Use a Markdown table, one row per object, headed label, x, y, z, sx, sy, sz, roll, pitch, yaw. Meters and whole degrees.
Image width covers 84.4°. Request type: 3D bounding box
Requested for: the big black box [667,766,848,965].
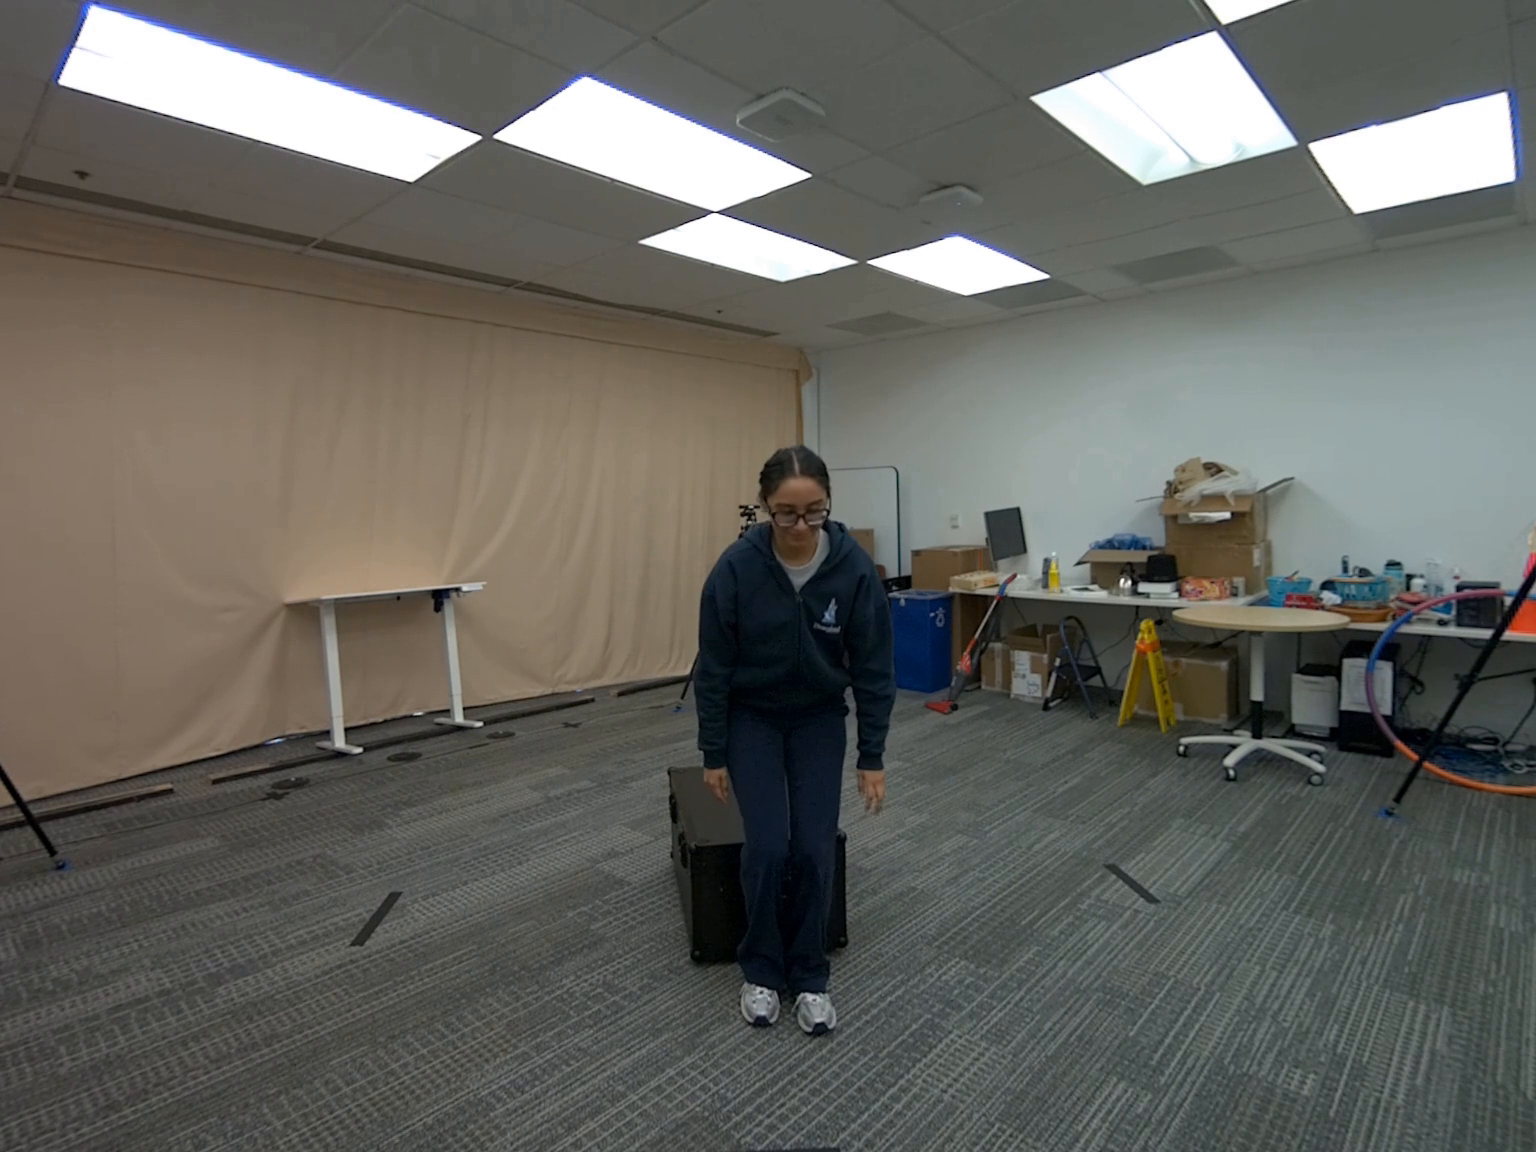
| label | x | y | z | sx | sy | sz | roll | pitch | yaw |
| --- | --- | --- | --- | --- | --- | --- | --- | --- | --- |
| big black box | -0.075 | 0.949 | 2.970 | 0.516 | 0.395 | 0.873 | -2 | 5 | -11 |
